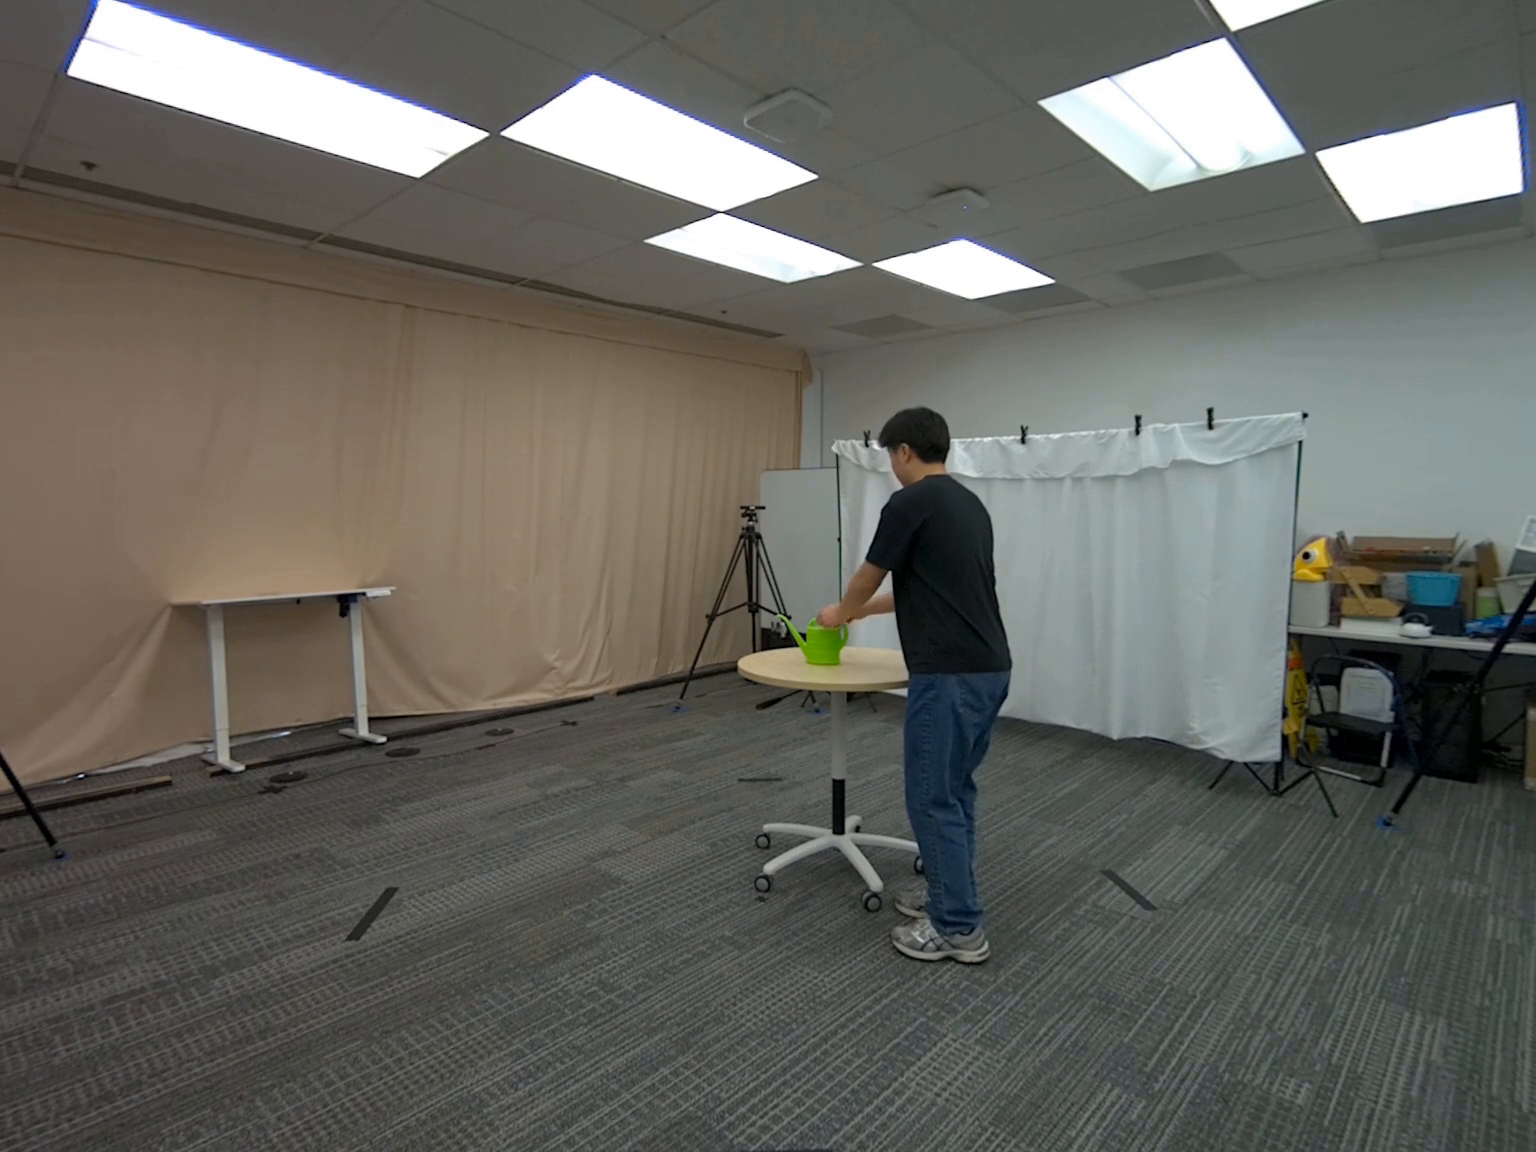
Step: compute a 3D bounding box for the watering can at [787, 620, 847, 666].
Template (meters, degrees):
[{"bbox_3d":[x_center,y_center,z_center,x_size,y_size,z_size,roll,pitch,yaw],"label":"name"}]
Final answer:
[{"bbox_3d":[0.175,0.241,3.206,0.287,0.176,0.095,4,5,31],"label":"watering can"}]
